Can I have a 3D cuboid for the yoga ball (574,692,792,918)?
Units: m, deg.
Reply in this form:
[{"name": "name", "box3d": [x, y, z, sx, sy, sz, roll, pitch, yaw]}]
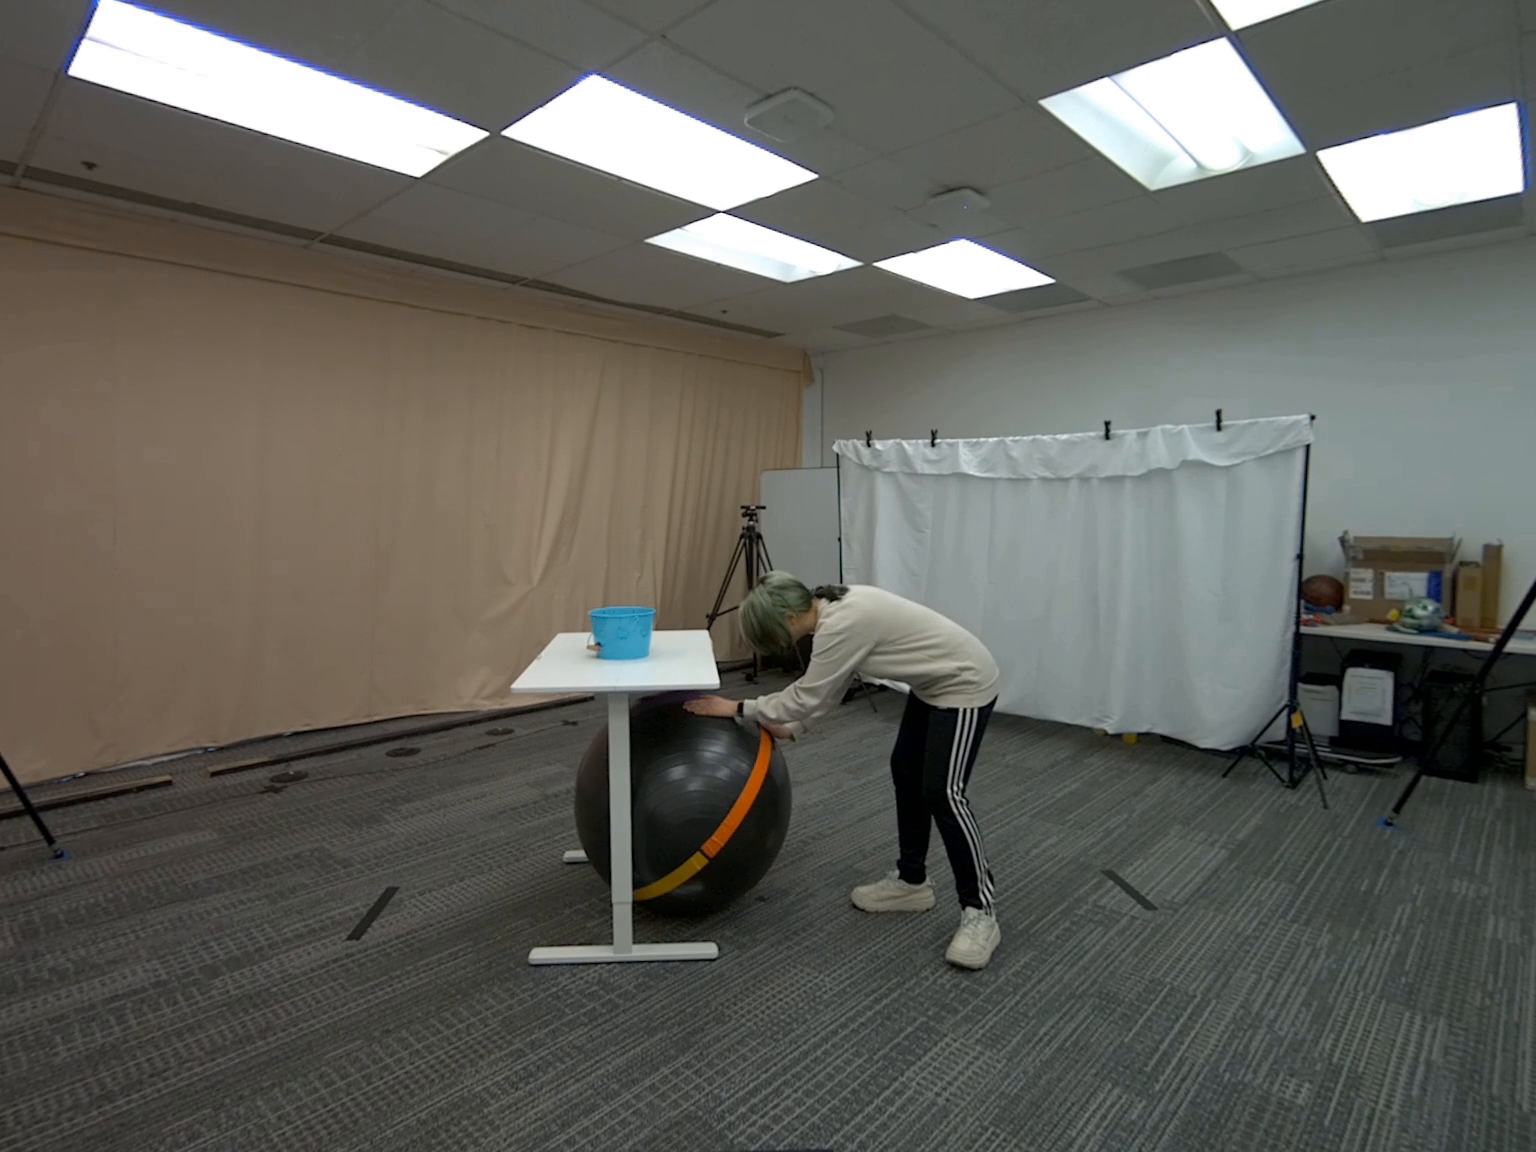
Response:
[{"name": "yoga ball", "box3d": [-0.292, 0.779, 2.949, 0.757, 0.756, 0.760, 0, 4, -2]}]
